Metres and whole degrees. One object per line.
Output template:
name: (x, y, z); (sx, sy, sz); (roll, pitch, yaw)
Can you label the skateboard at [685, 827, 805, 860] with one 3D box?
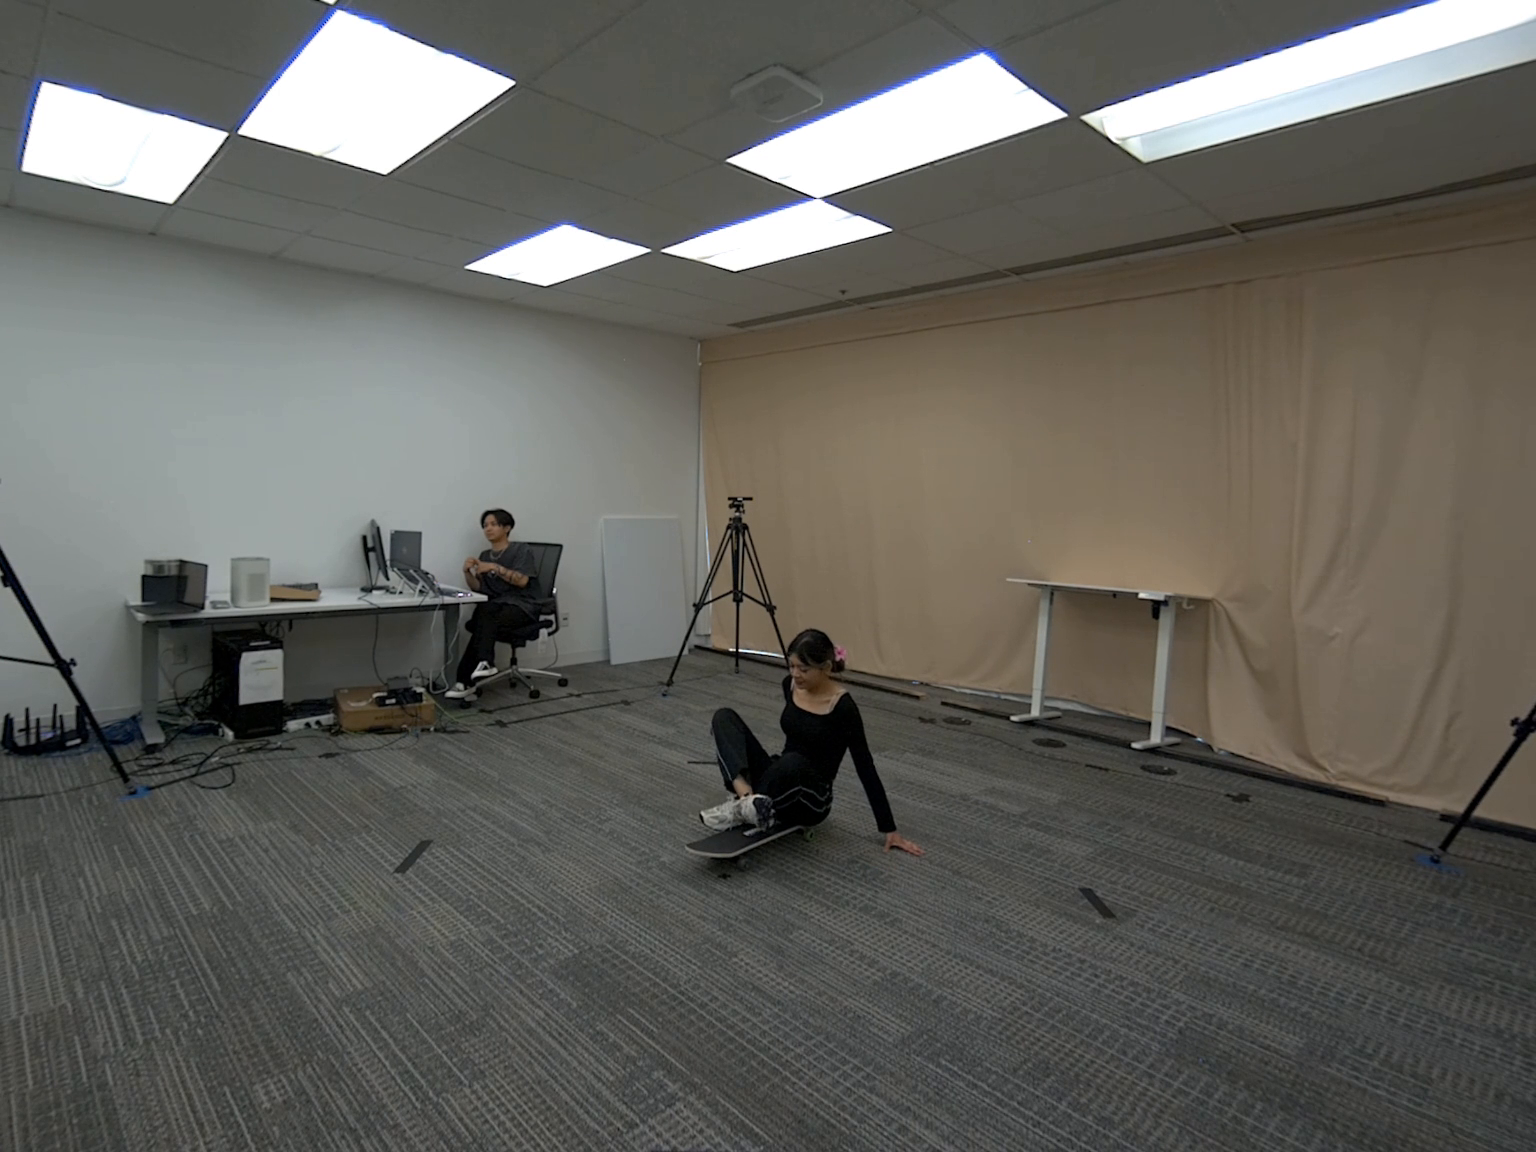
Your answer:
skateboard: (-0.030, 1.029, 3.342); (0.198, 0.110, 0.767); (0, 2, 41)
